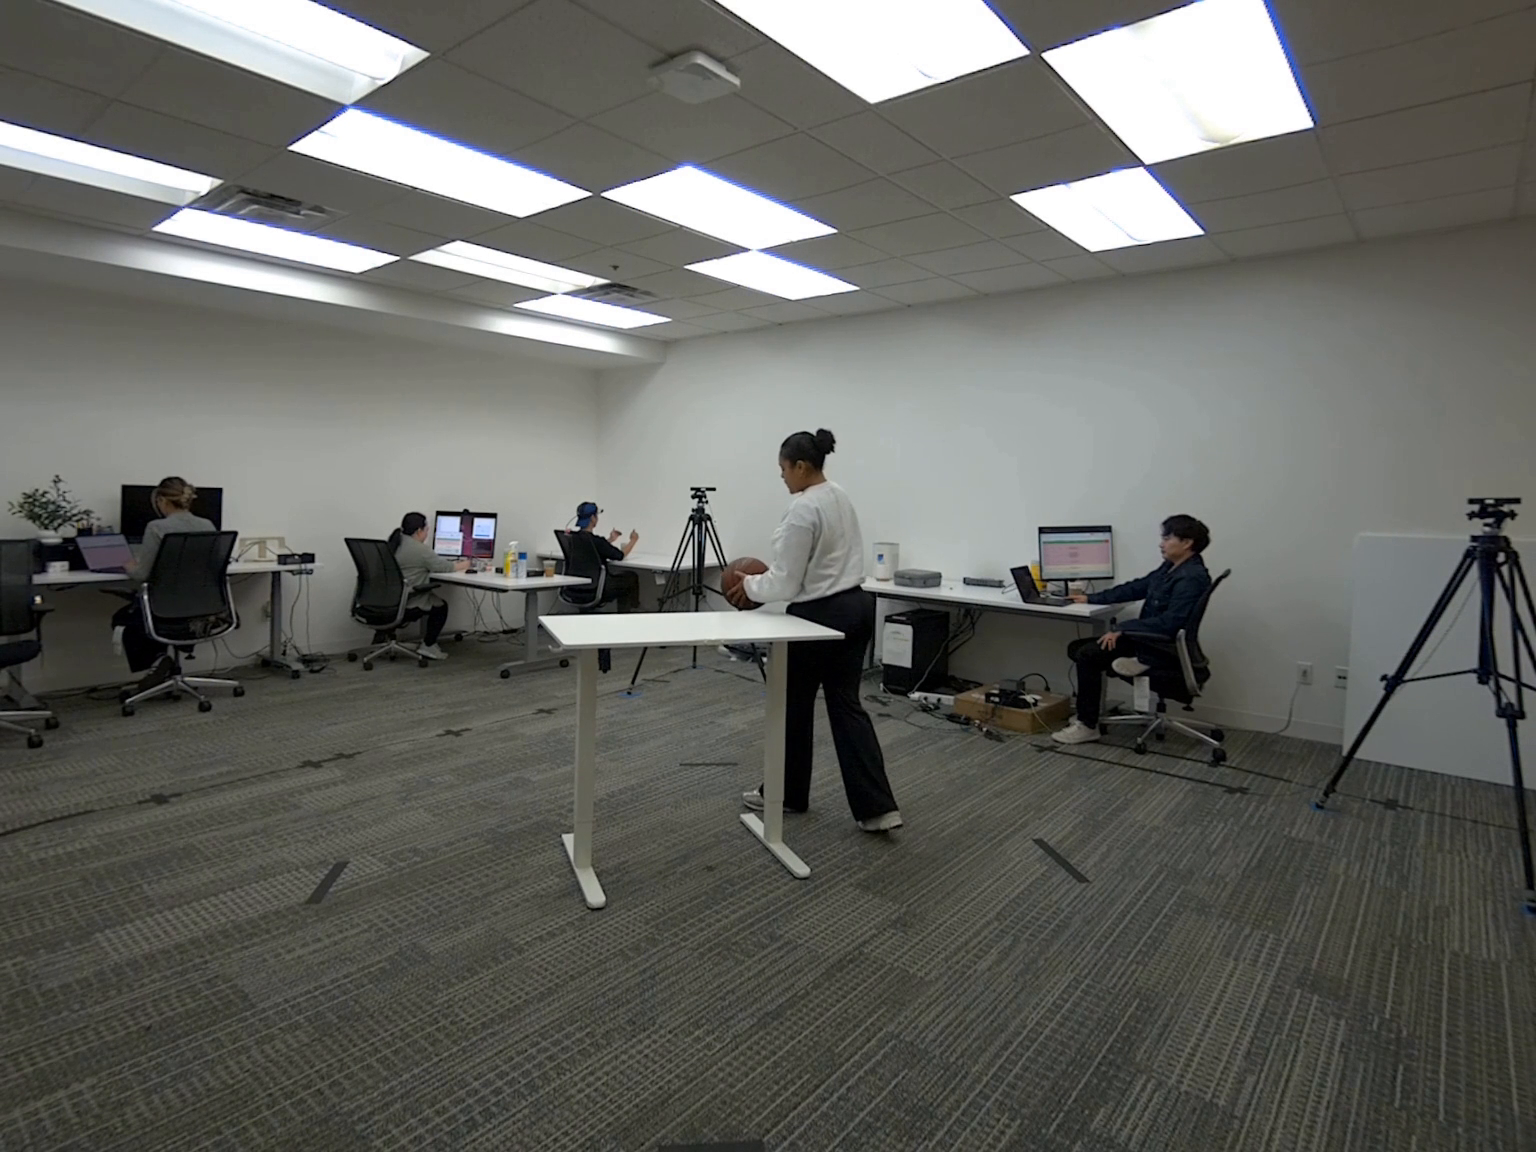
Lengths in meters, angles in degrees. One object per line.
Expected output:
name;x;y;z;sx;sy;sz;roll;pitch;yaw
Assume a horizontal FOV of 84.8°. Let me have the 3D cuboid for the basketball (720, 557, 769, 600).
basketball;-0.098;0.025;3.815;0.235;0.235;0.237;1;4;-2
